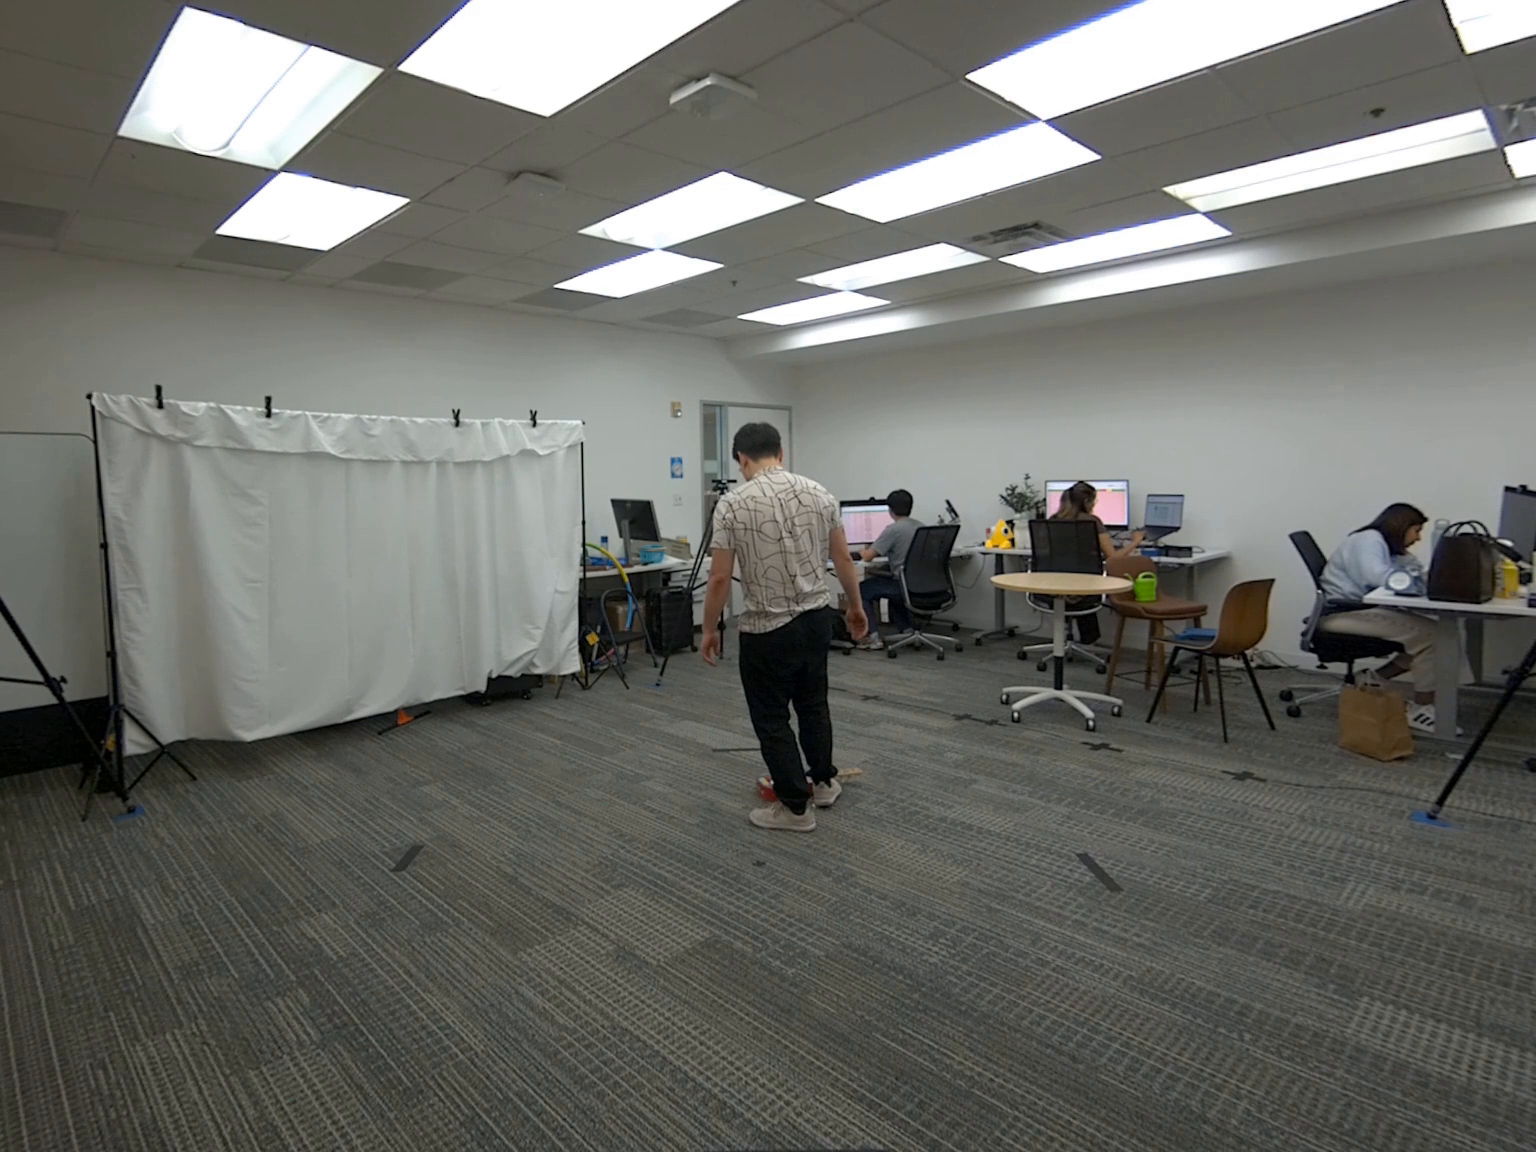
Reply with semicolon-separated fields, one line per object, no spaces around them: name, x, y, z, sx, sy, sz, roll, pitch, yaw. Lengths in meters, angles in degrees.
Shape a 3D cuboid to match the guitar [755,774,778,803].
guitar;0.203;0.931;3.822;0.494;0.070;0.195;-2;5;-8
